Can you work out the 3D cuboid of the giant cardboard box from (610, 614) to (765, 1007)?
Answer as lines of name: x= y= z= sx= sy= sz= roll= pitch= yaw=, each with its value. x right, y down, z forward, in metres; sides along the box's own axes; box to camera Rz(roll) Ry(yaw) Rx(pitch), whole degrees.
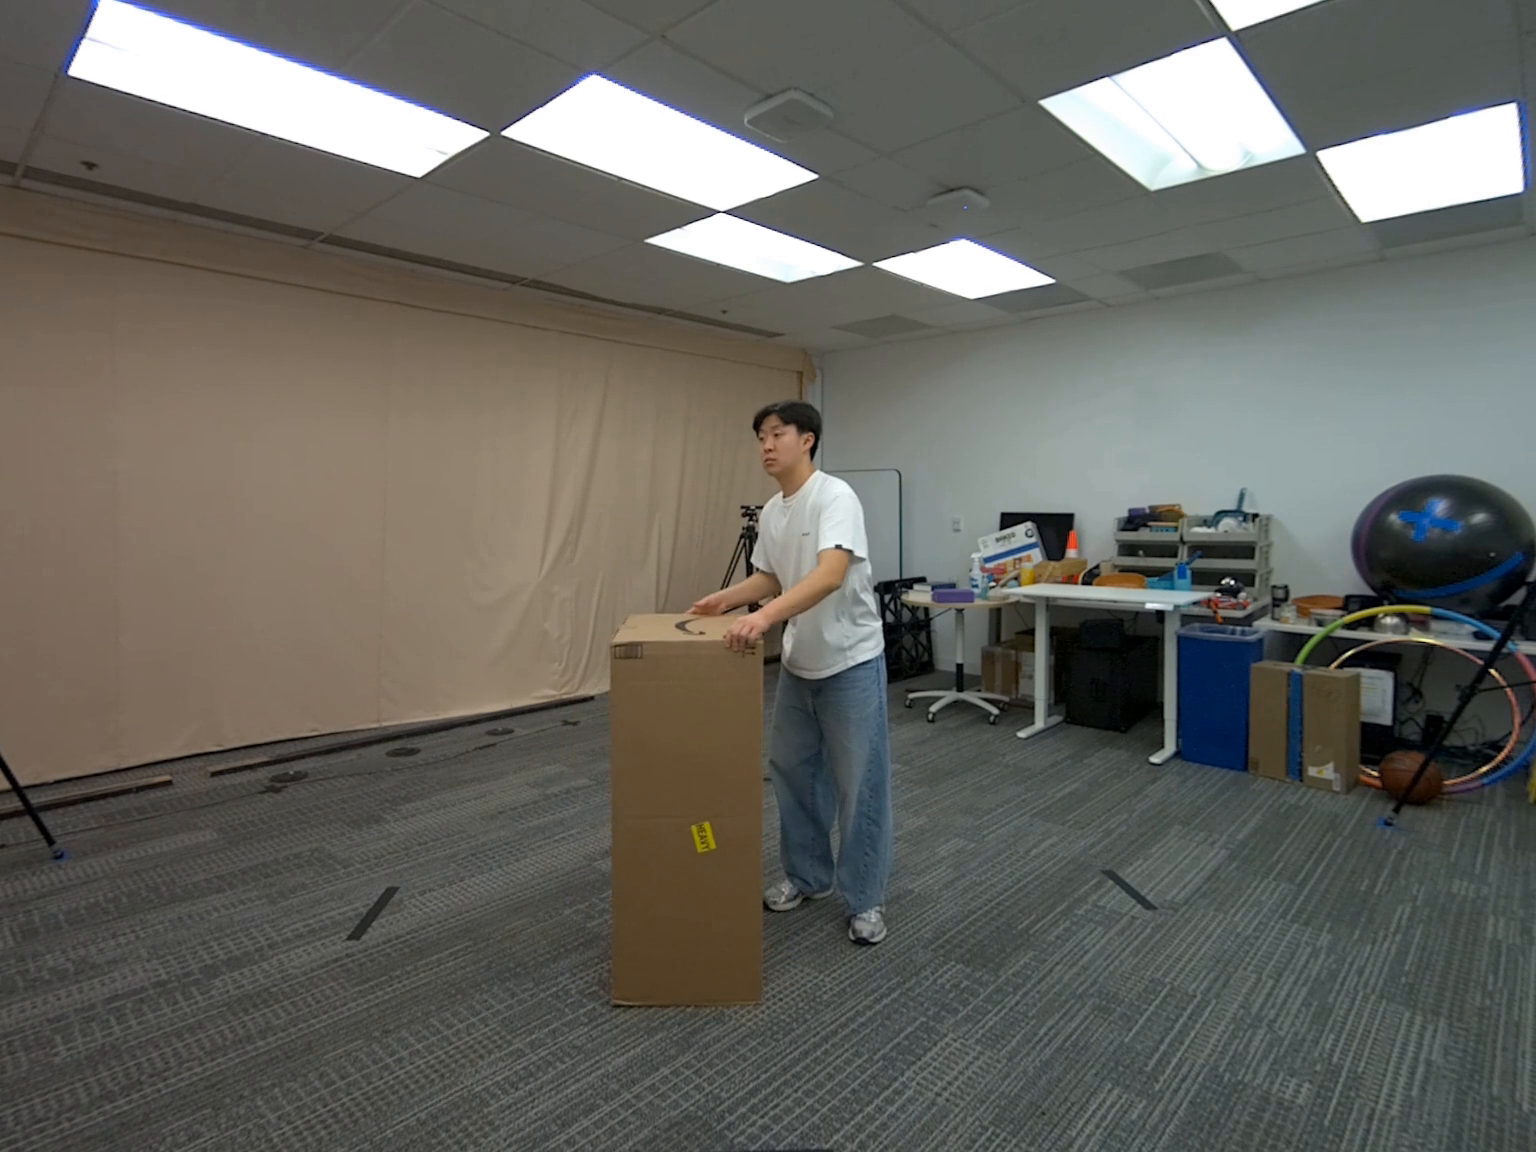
giant cardboard box: x=-0.246 y=0.666 z=2.599 sx=0.425 sy=1.024 sz=0.580 roll=0 pitch=2 yaw=-3
